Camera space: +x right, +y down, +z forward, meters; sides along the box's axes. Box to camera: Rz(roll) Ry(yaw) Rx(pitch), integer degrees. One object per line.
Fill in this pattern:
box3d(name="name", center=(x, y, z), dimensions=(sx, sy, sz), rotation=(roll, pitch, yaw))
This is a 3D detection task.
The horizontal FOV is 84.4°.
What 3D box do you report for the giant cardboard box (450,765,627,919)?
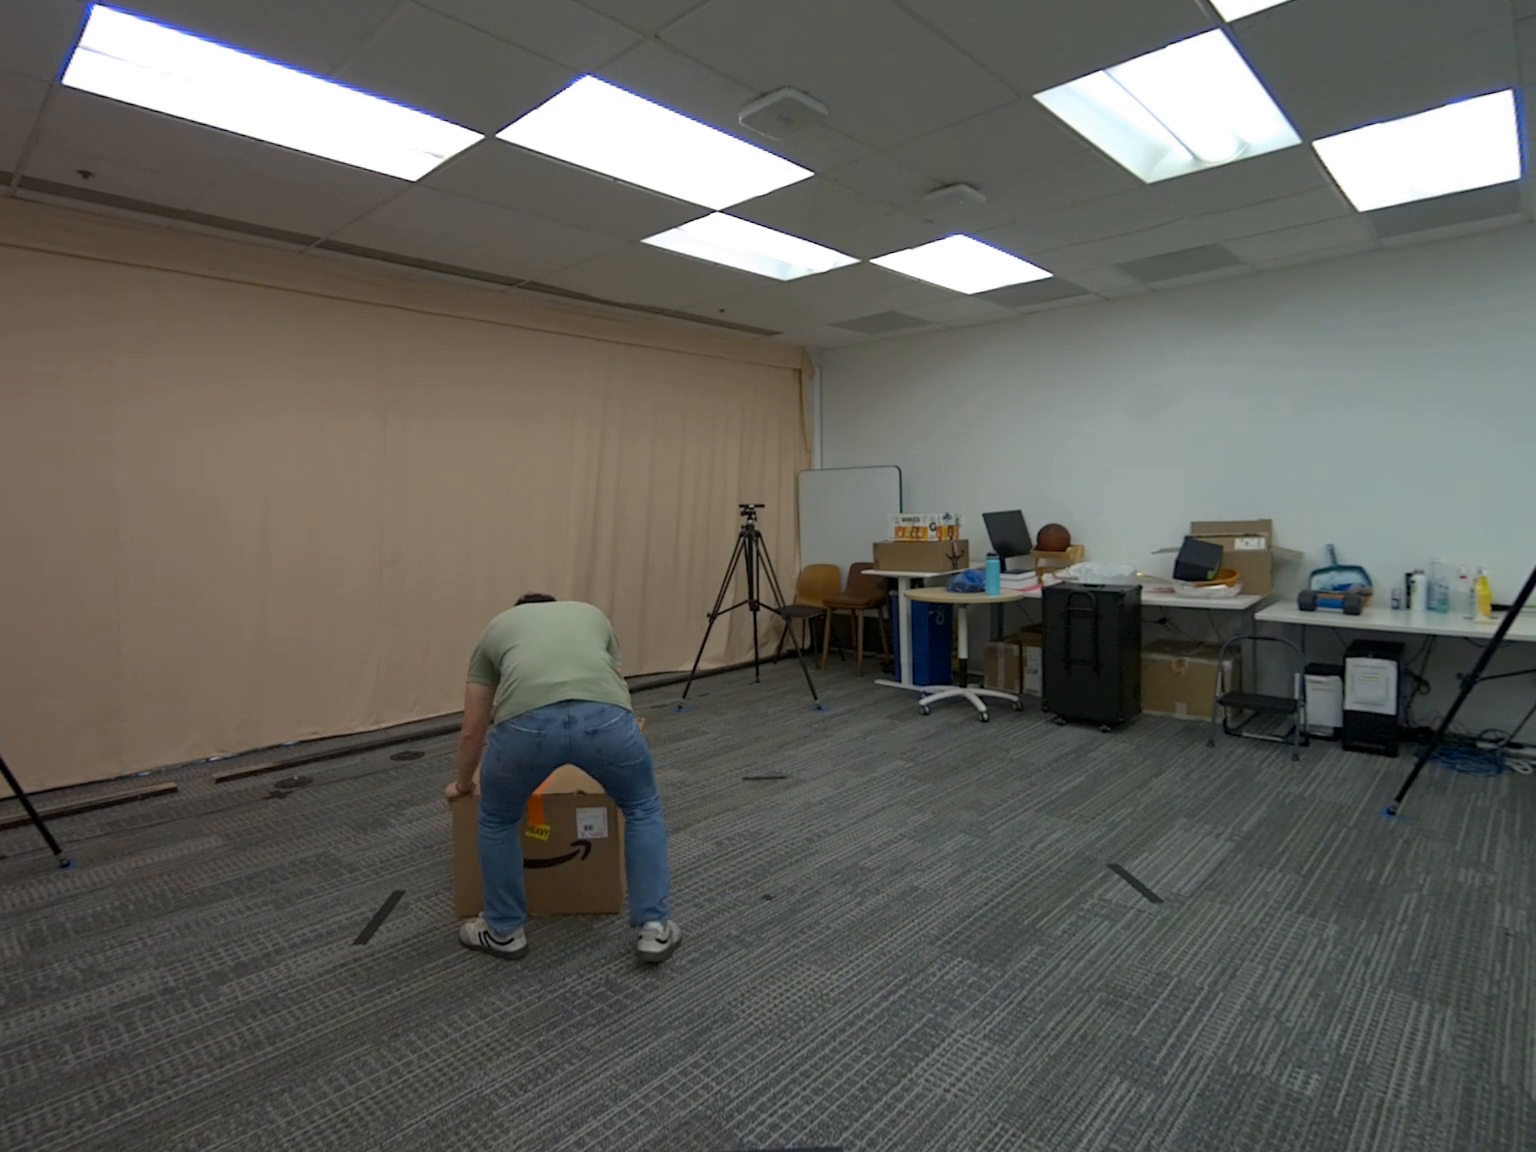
box3d(name="giant cardboard box", center=(-0.814, 0.909, 3.391), dimensions=(0.577, 0.425, 1.030), rotation=(-2, 5, -2))
